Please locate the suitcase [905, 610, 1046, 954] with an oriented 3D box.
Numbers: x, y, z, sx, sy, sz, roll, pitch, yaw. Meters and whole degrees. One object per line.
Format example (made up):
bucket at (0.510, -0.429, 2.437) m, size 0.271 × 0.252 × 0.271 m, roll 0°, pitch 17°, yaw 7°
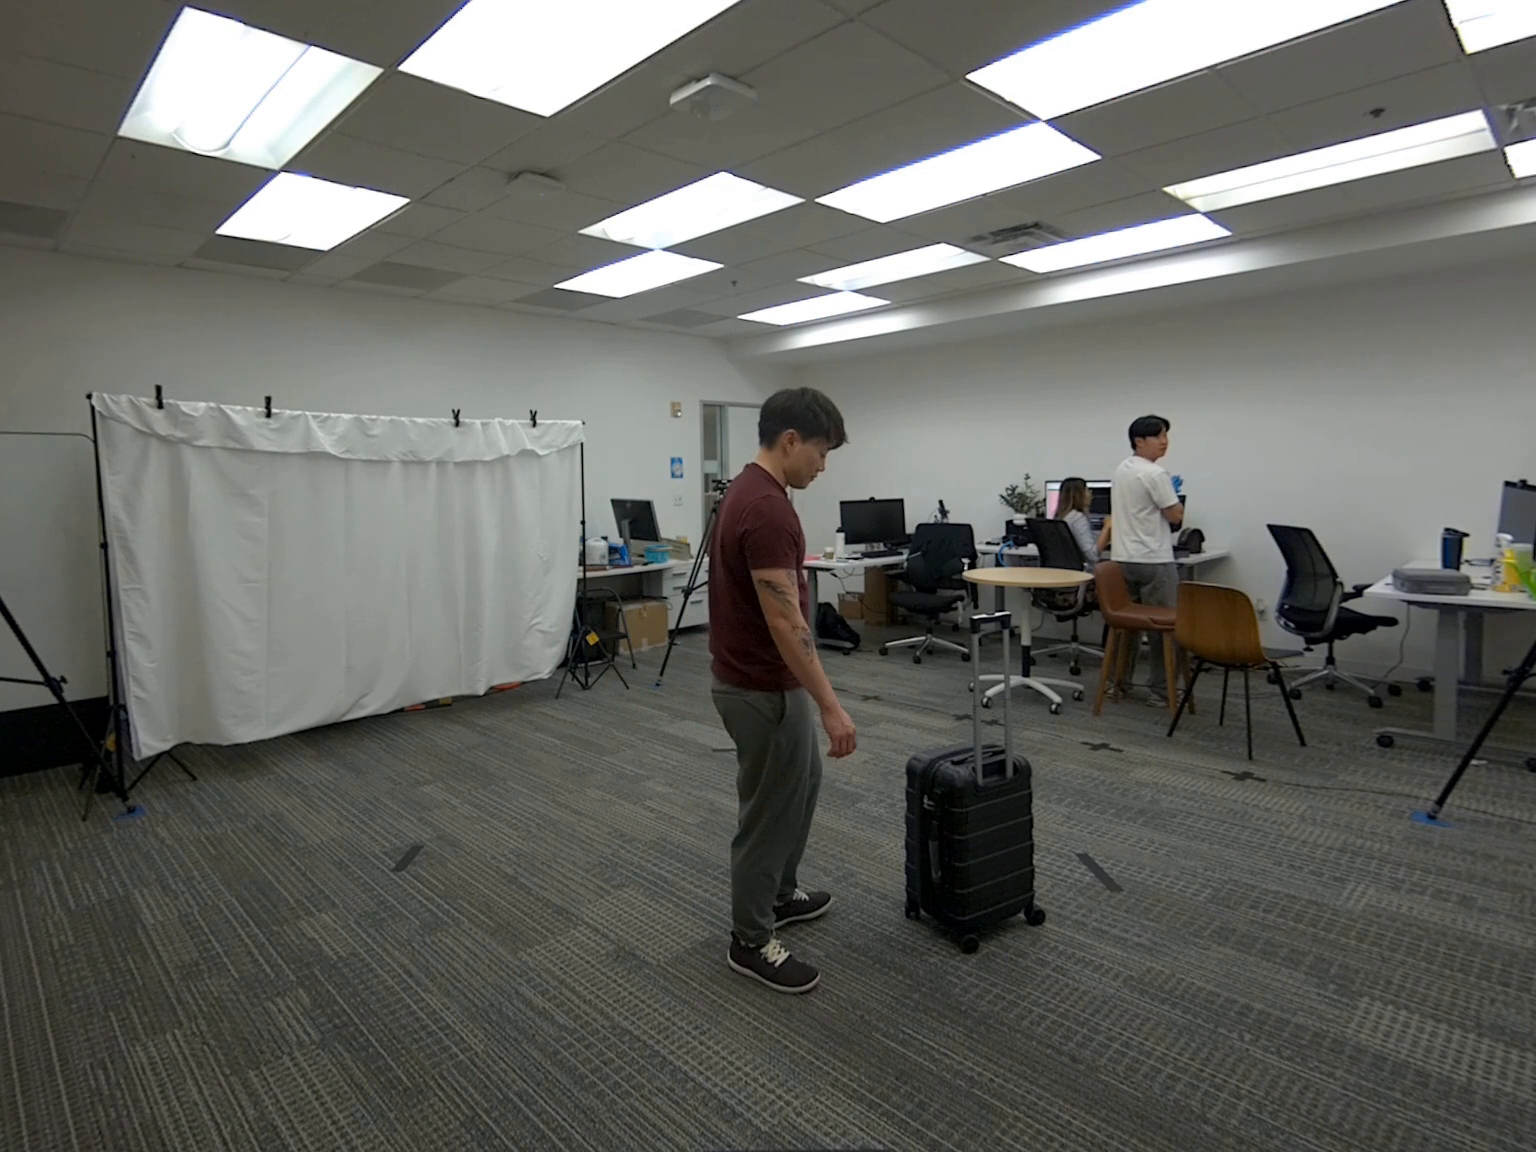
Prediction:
suitcase at (0.629, 0.610, 2.659) m, size 0.375 × 0.977 × 0.263 m, roll -3°, pitch 2°, yaw -28°
